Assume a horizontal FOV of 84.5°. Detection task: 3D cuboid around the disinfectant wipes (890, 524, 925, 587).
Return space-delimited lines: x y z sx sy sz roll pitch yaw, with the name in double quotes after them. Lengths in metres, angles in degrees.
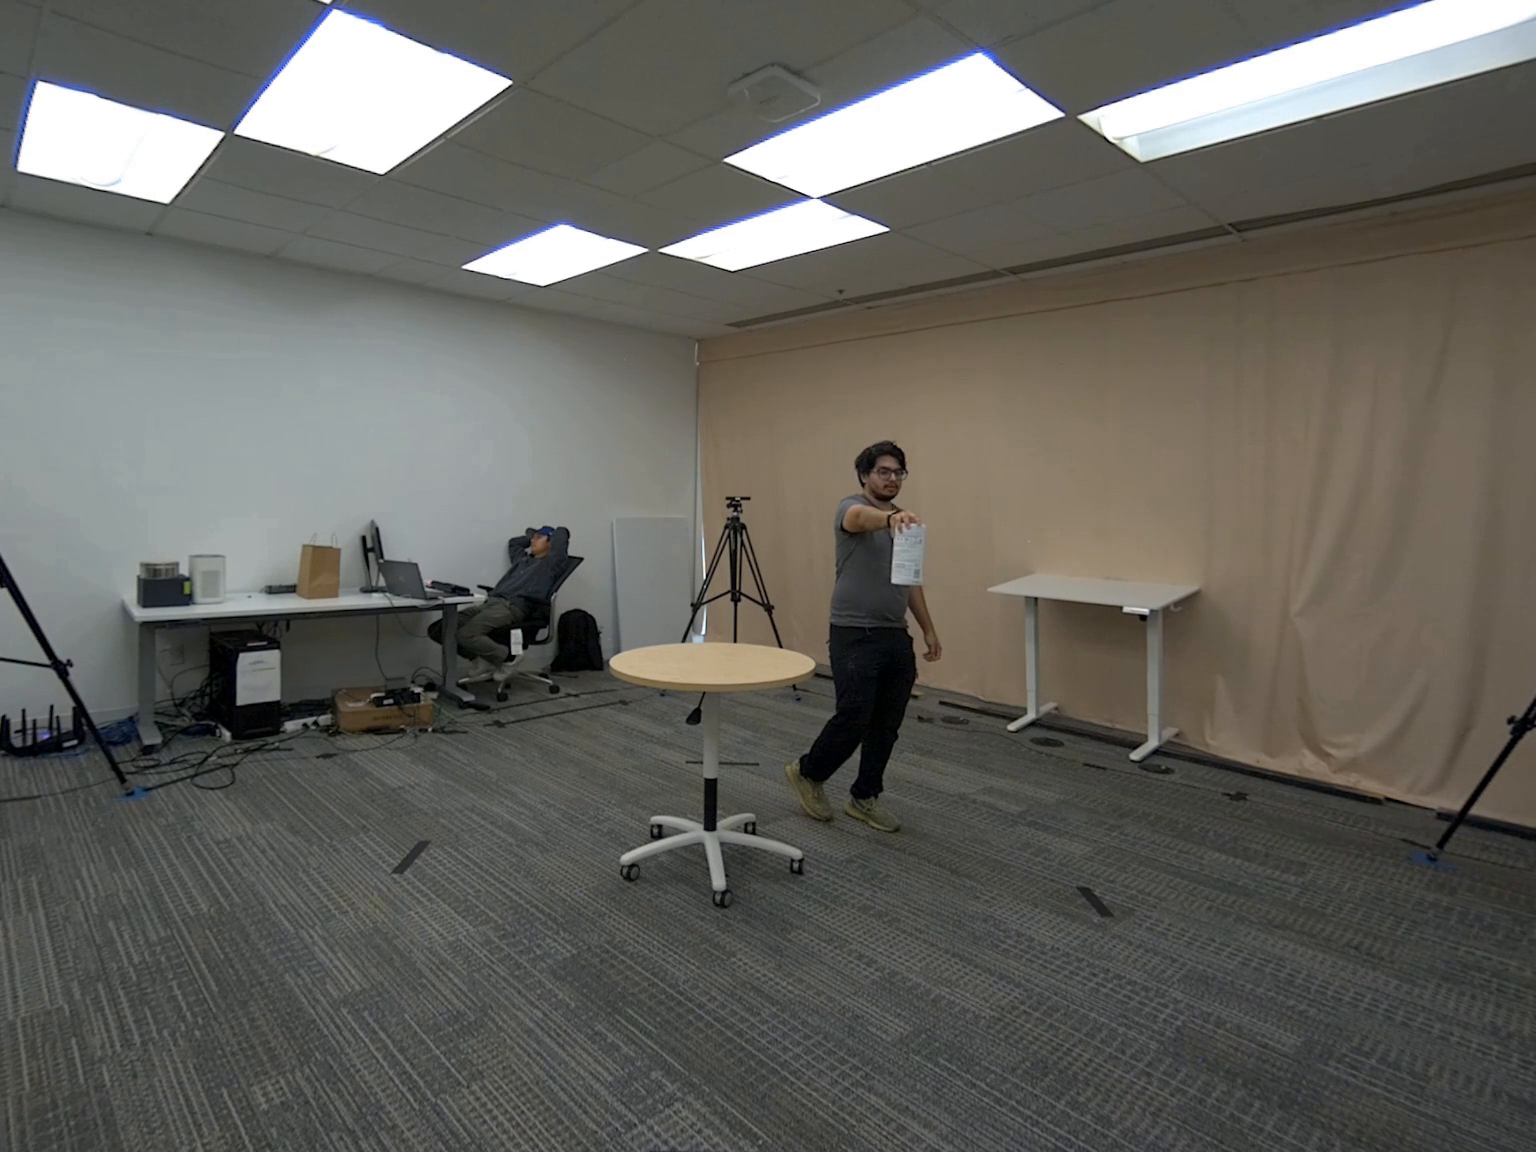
0.486 -0.073 2.948 0.118 0.217 0.118 3 2 -2 "disinfectant wipes"
